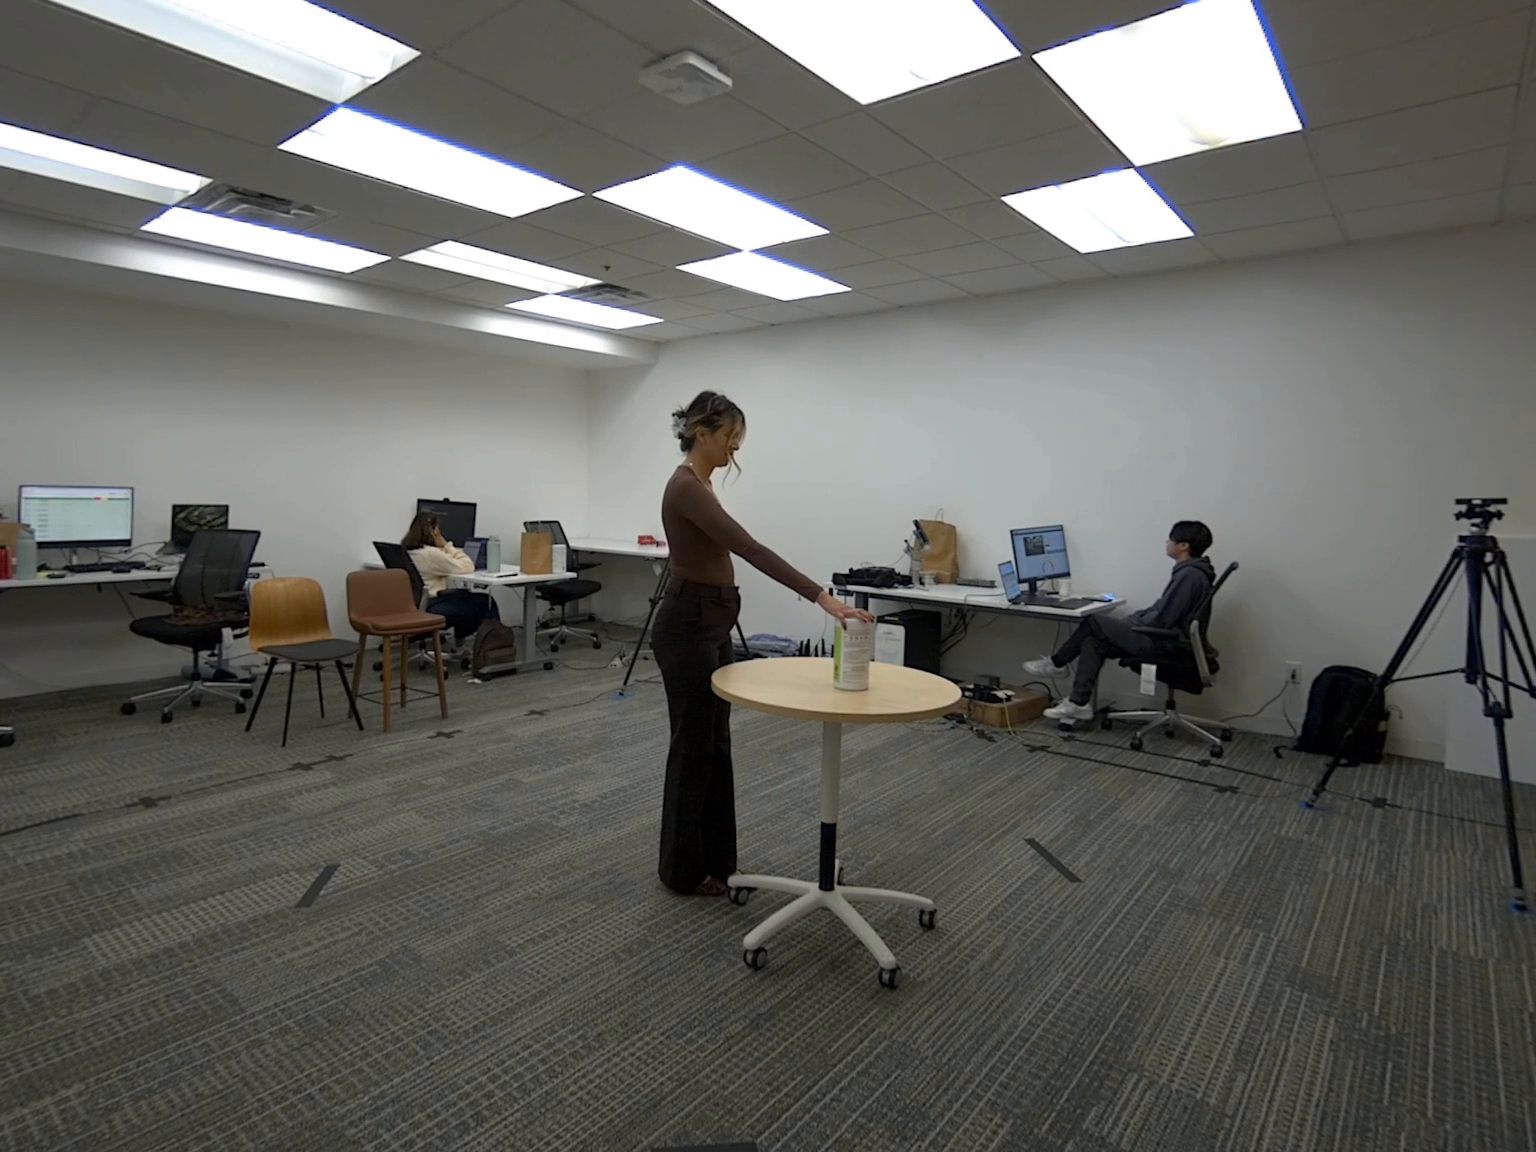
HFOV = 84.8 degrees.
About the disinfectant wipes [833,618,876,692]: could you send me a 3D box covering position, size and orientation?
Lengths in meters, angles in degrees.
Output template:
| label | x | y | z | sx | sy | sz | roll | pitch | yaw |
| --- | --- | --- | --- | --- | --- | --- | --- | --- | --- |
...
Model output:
| label | x | y | z | sx | sy | sz | roll | pitch | yaw |
| --- | --- | --- | --- | --- | --- | --- | --- | --- | --- |
| disinfectant wipes | 0.248 | 0.226 | 2.576 | 0.118 | 0.217 | 0.118 | 0 | 2 | -2 |
